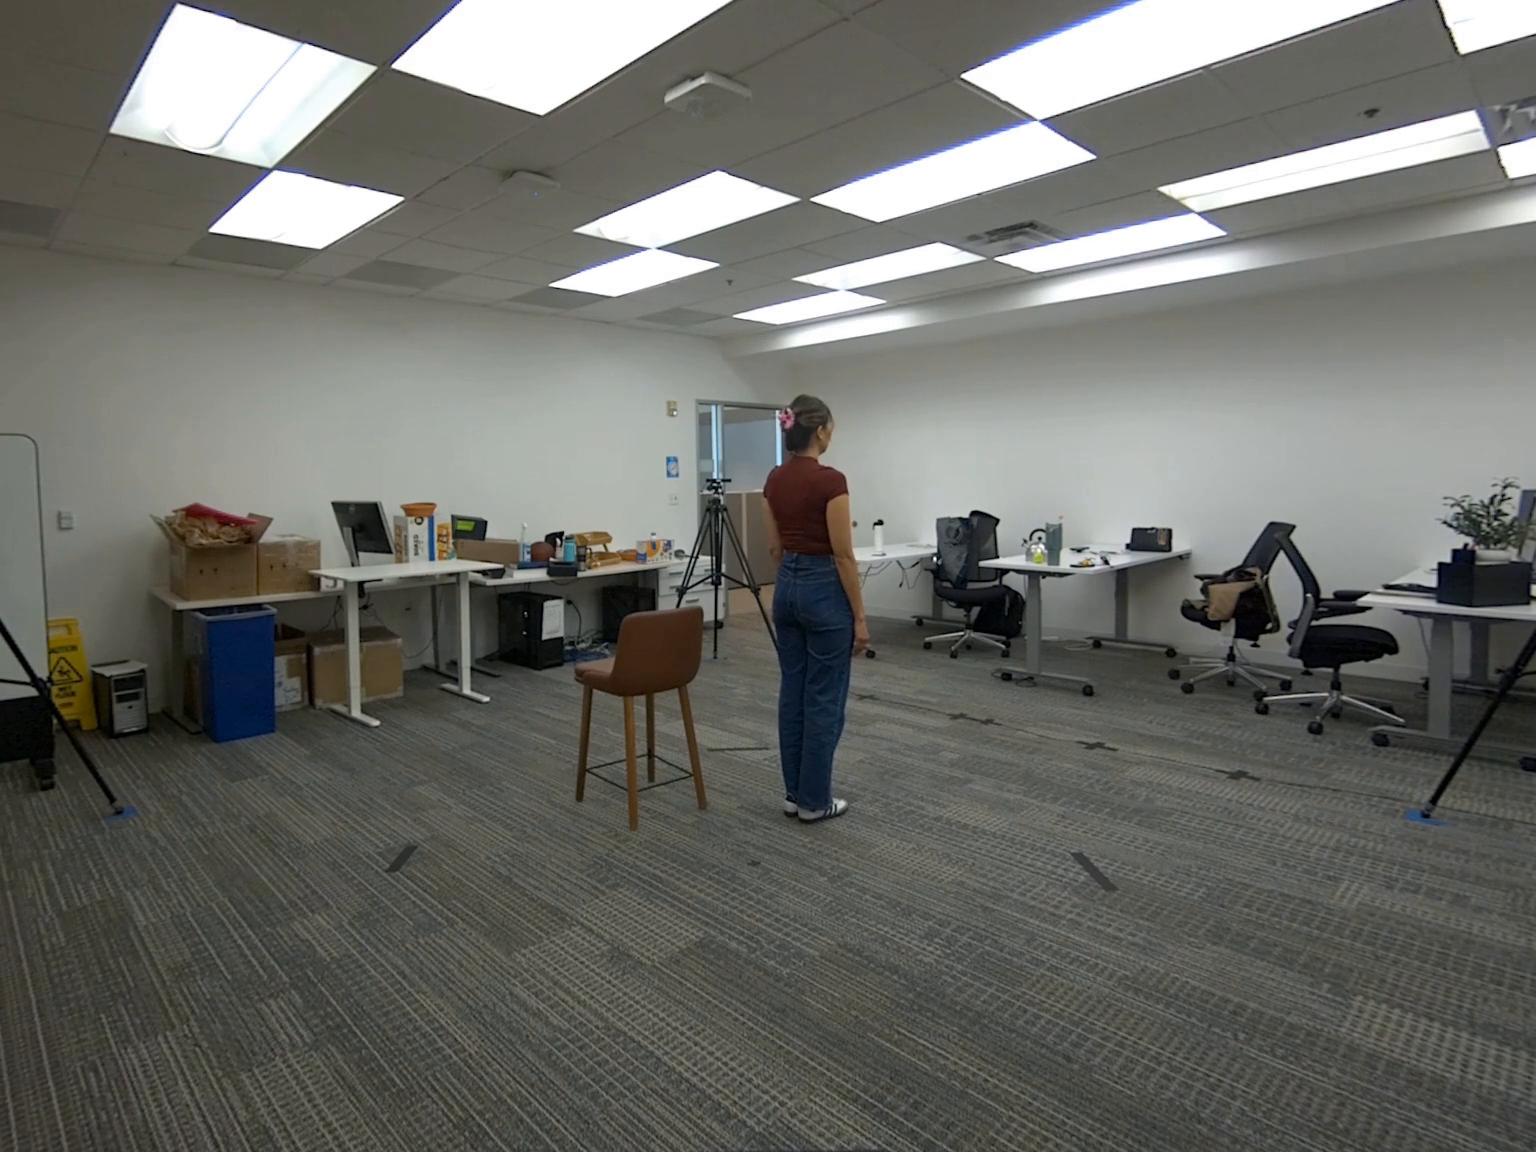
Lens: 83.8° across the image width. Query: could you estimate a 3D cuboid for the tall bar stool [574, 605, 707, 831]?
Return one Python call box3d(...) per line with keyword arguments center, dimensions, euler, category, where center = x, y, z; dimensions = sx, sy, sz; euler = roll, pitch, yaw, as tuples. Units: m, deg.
box3d(center=(-0.552, 0.555, 3.672), dimensions=(0.444, 0.886, 0.482), euler=(-5, 6, -40), category="tall bar stool")
